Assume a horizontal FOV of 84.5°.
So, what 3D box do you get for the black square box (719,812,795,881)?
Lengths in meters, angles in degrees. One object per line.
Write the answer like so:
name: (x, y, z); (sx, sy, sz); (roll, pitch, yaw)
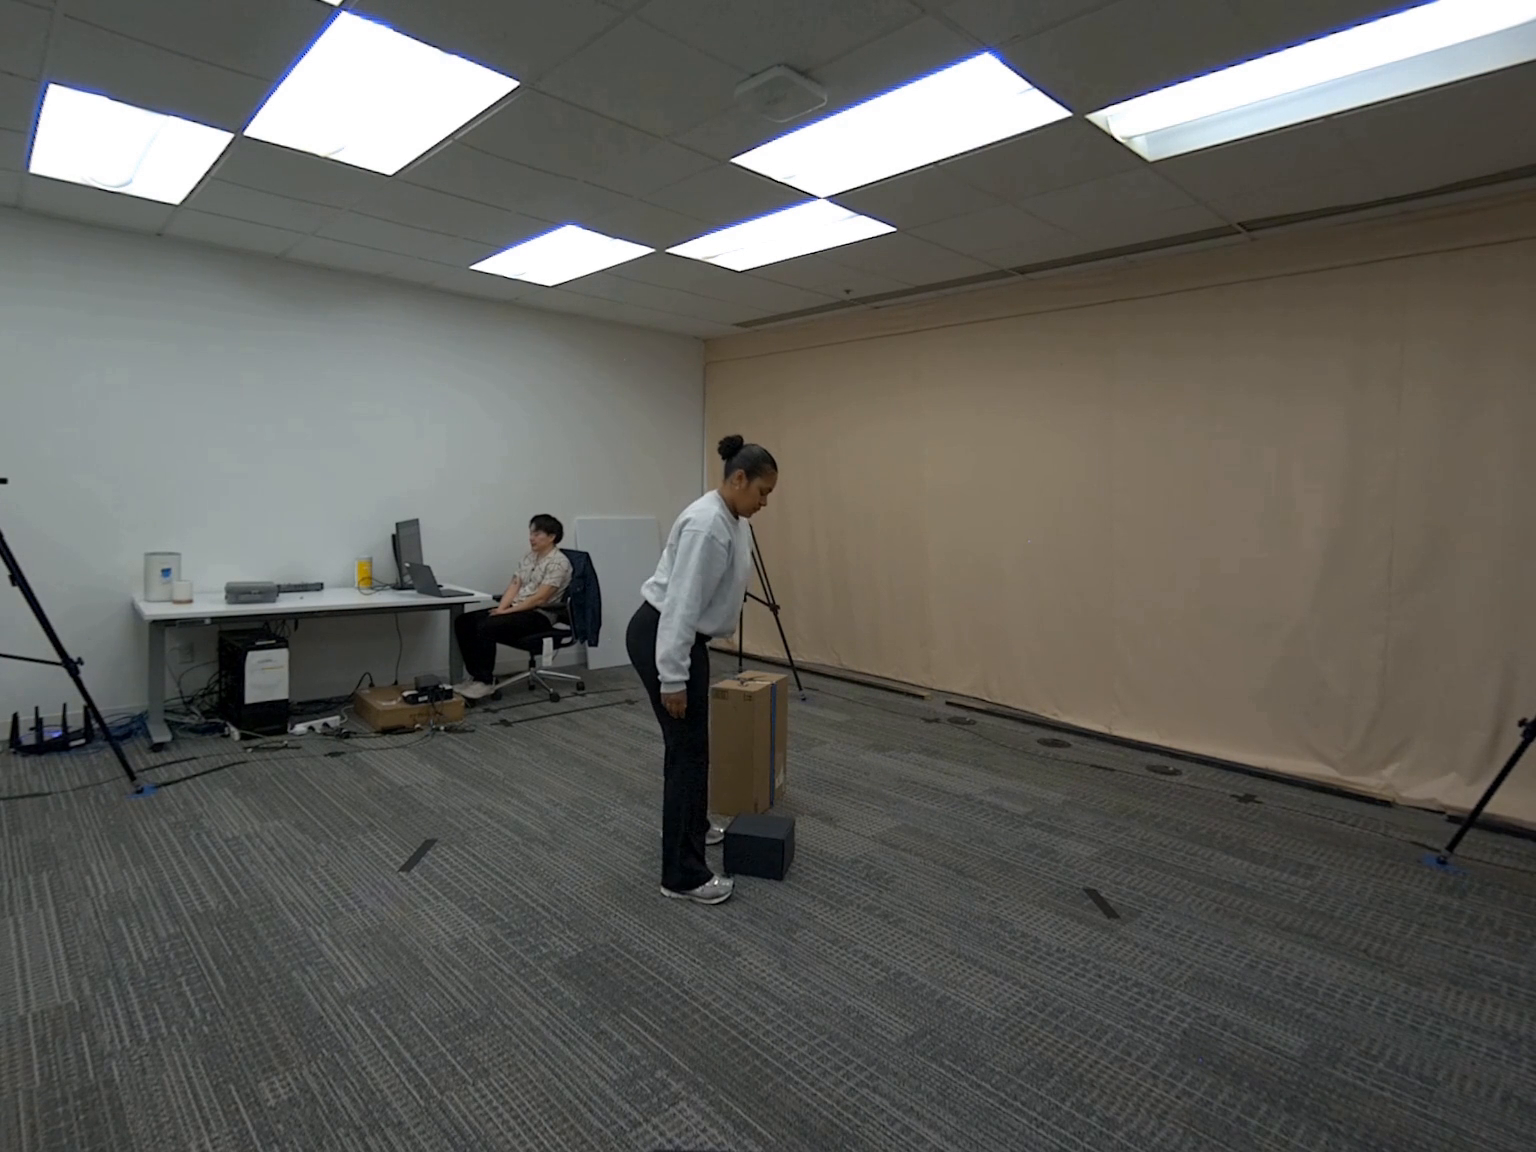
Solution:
black square box: (-0.044, 1.014, 3.195); (0.231, 0.155, 0.215); (3, 7, 14)
